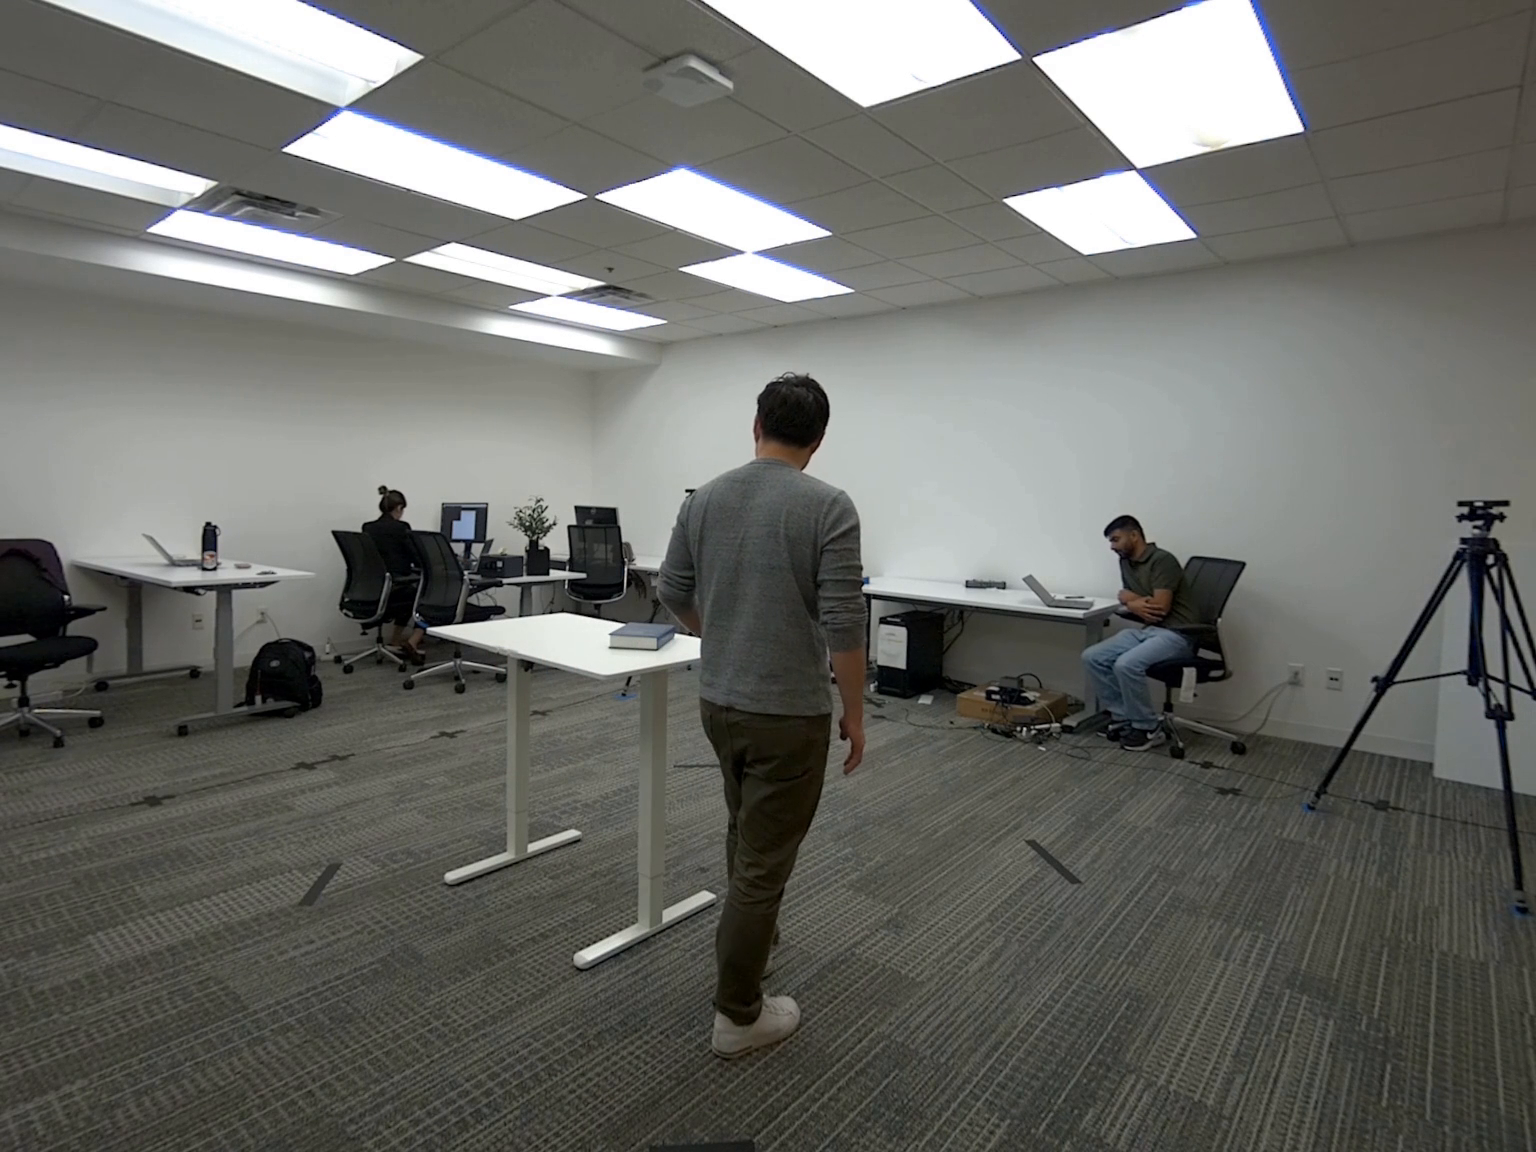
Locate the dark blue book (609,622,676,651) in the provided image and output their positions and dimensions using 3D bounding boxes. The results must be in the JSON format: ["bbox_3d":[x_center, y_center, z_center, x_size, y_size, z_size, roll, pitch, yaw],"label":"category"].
[{"bbox_3d":[-0.418,0.197,2.796,0.165,0.045,0.243,3,6,9],"label":"dark blue book"}]
